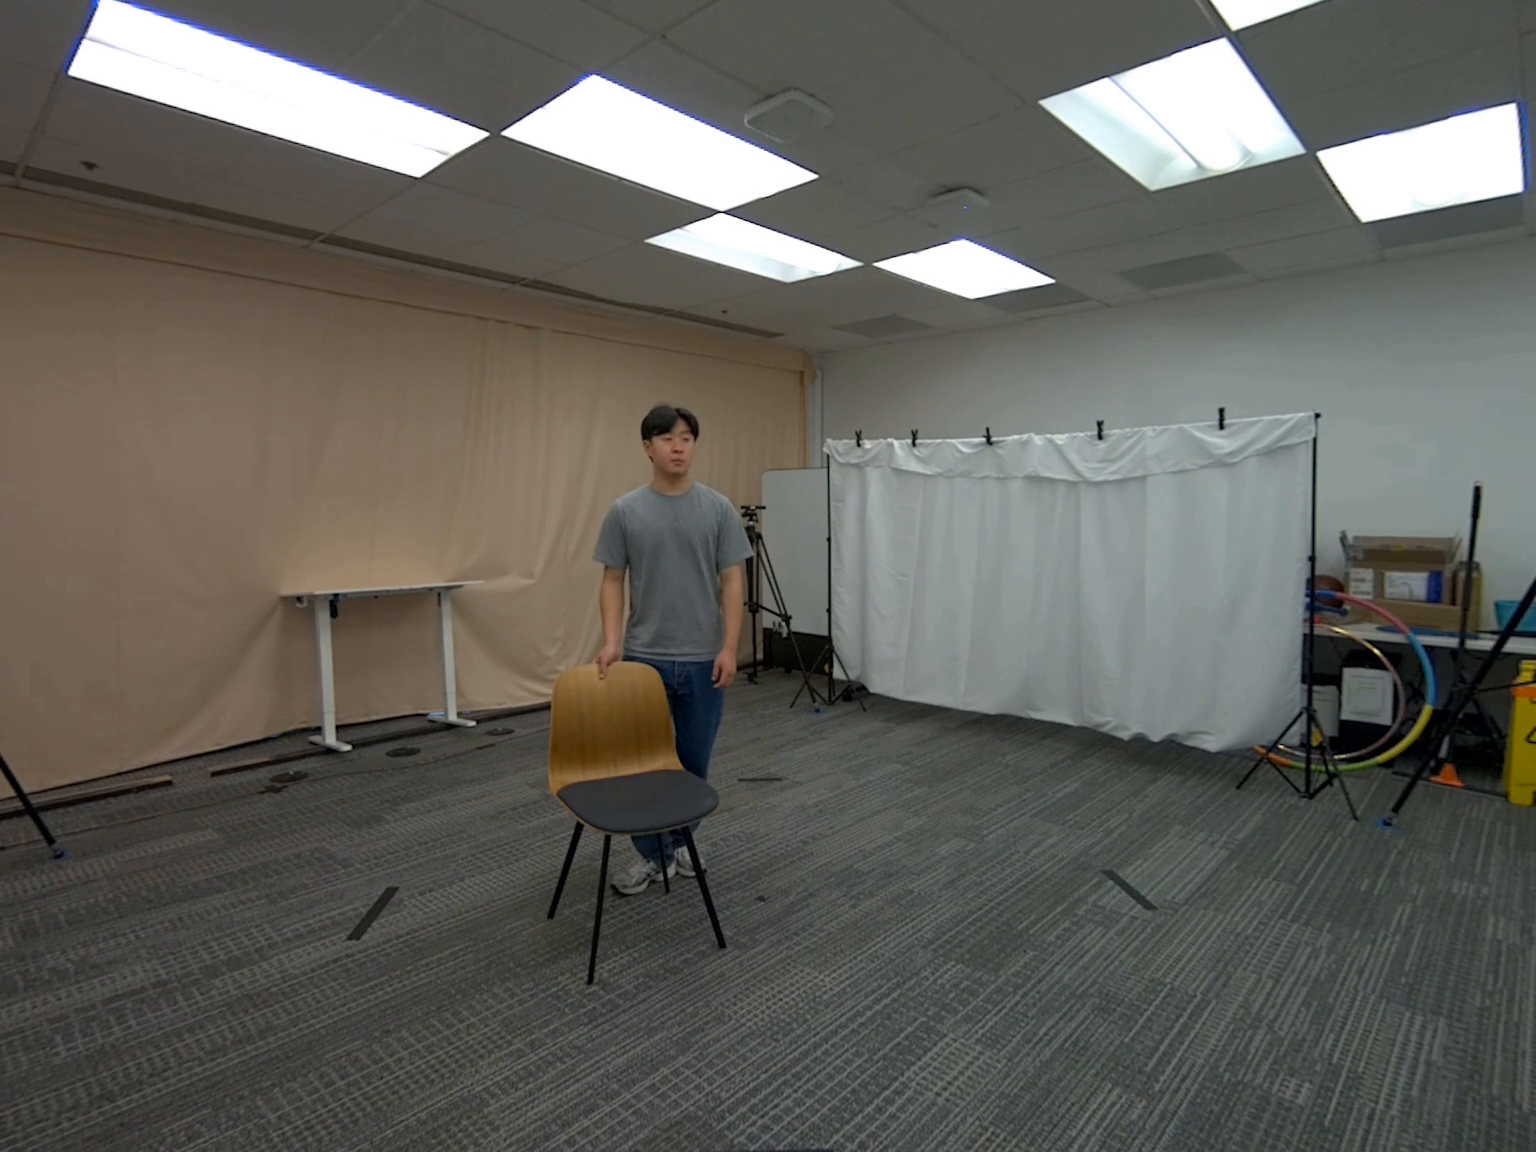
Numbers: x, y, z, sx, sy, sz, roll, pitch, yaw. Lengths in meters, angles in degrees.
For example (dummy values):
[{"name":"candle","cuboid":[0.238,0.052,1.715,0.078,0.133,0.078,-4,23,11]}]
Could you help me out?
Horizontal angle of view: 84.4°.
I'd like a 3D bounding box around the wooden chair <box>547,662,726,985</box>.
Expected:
[{"name":"wooden chair","cuboid":[-0.437,0.741,2.714,0.466,0.878,0.537,-2,-1,-29]}]
